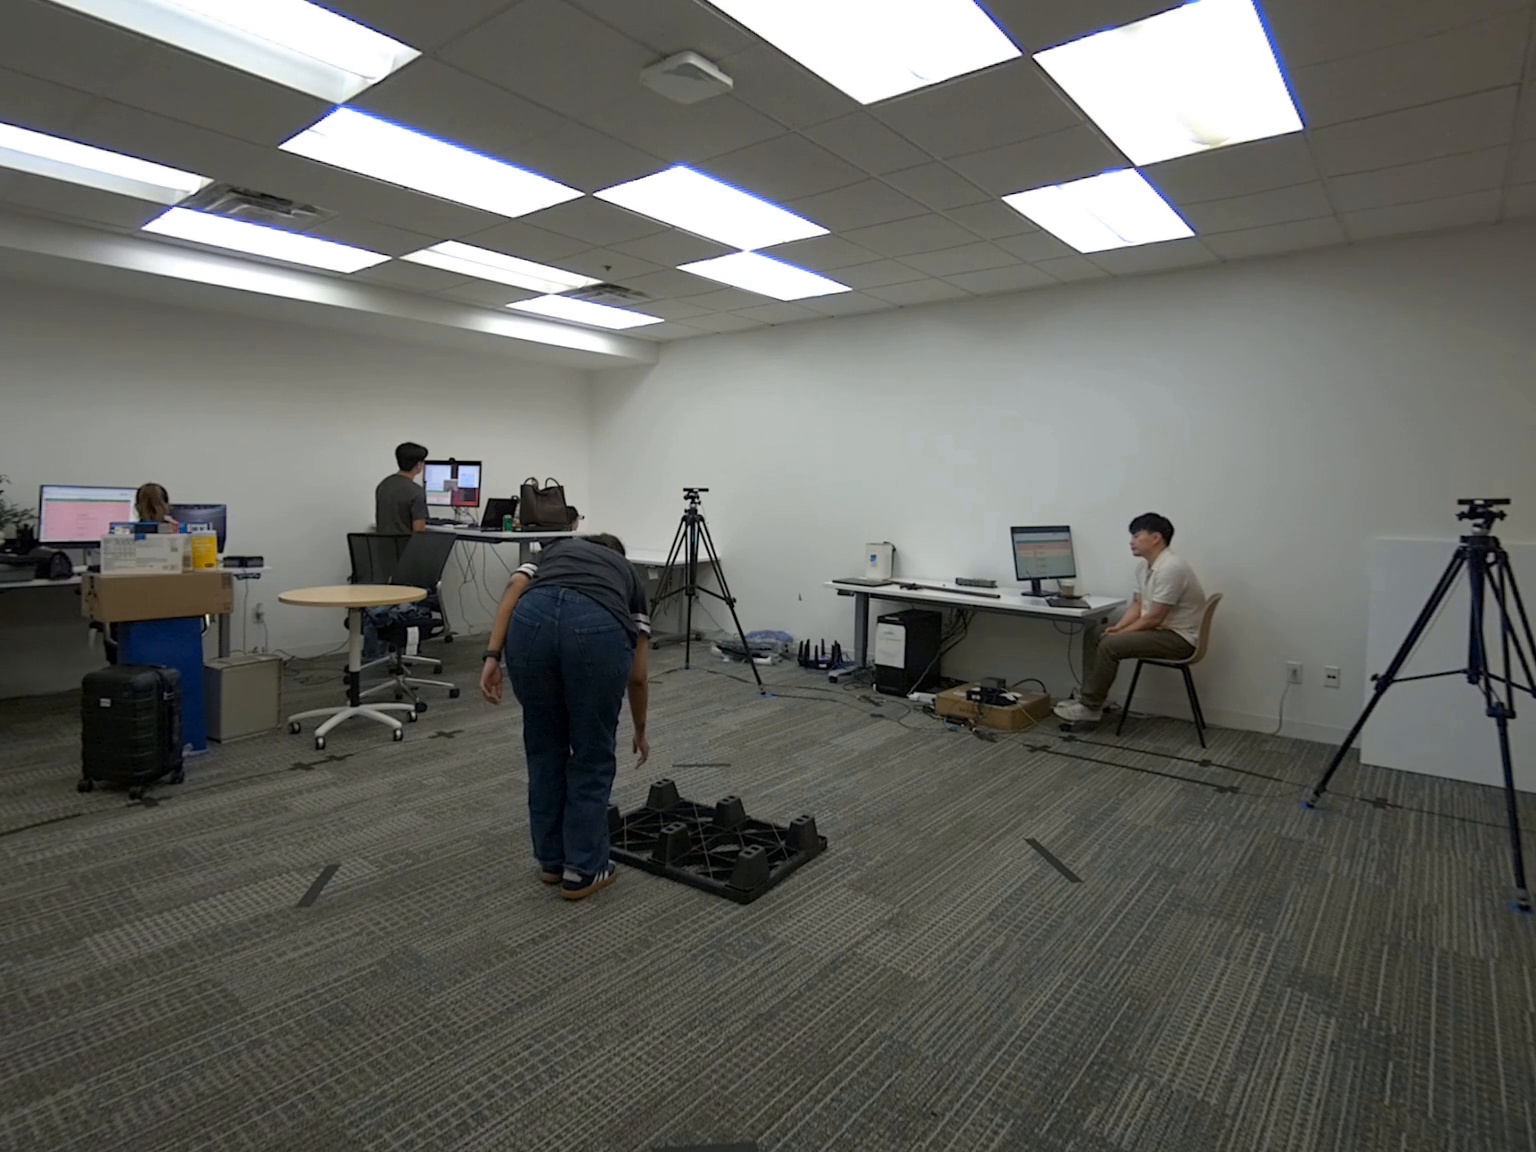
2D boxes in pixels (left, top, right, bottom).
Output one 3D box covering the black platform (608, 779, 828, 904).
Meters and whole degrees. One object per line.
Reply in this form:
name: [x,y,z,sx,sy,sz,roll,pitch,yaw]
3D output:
black platform: [-0.260,0.984,3.302,0.831,0.143,0.589,5,7,32]
